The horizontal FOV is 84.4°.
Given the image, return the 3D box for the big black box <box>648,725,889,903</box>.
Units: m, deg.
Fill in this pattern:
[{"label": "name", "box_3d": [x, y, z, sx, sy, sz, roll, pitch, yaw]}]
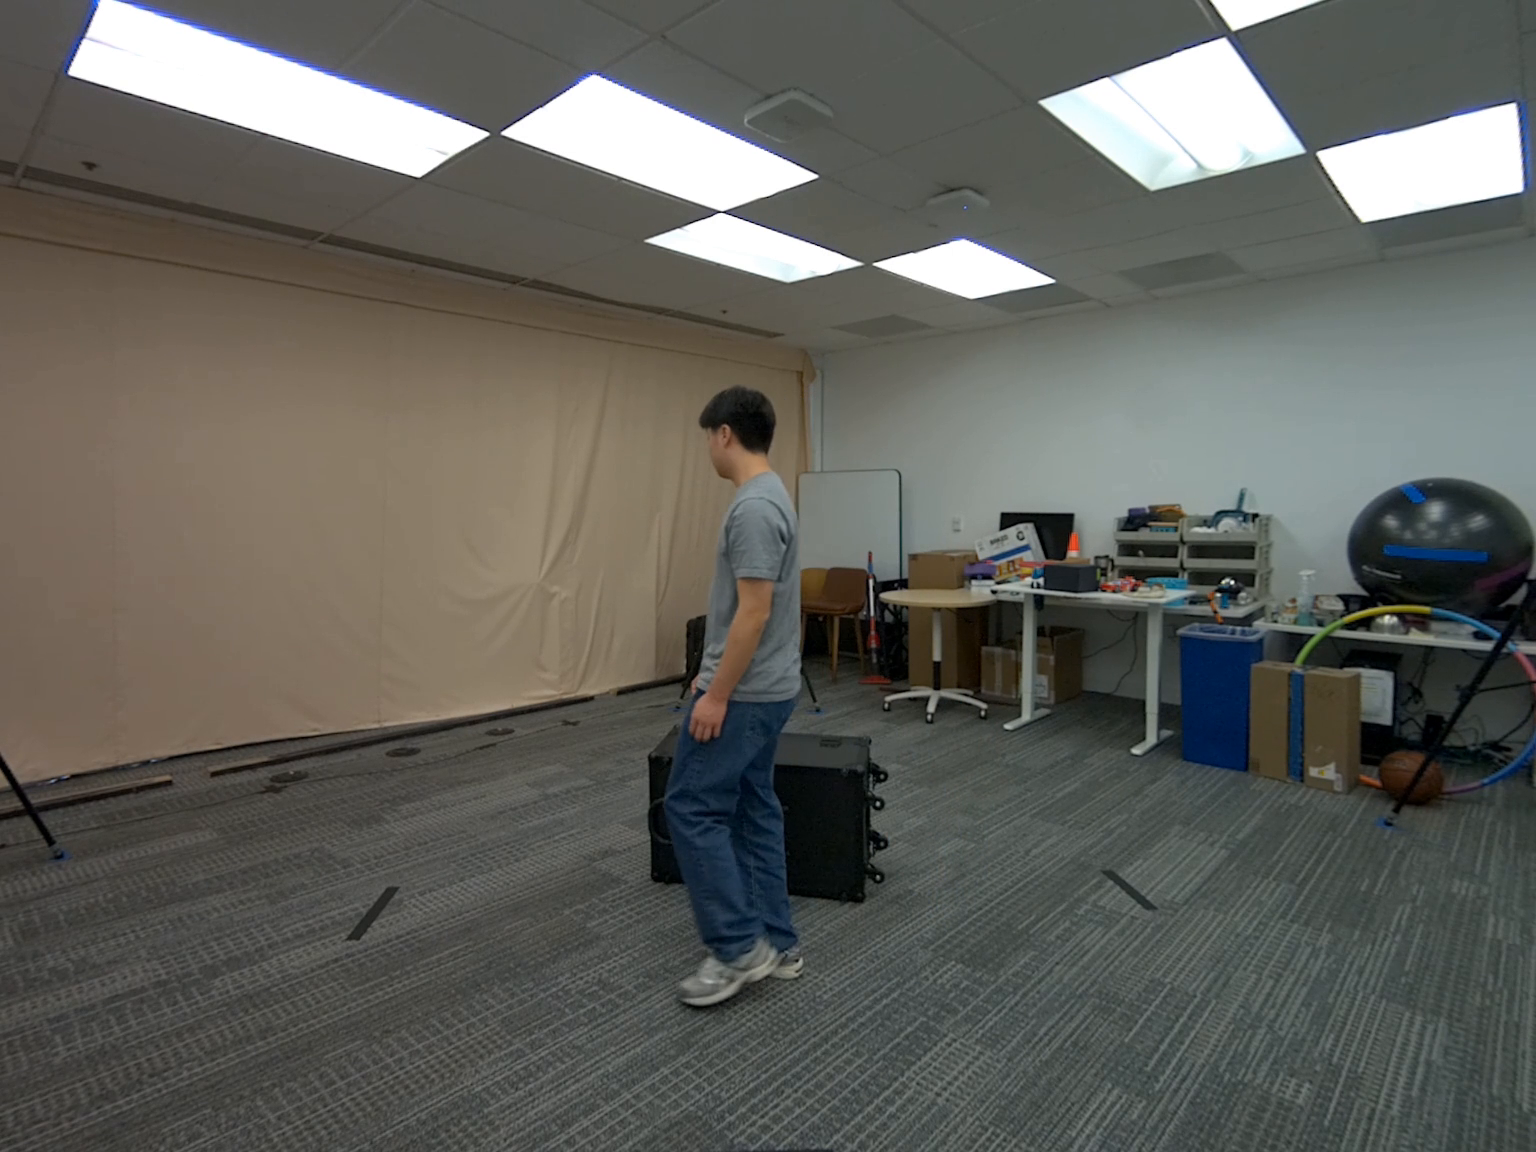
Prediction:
[{"label": "big black box", "box_3d": [0.011, 0.871, 3.157, 0.874, 0.519, 0.392, 1, 7, 13]}]
